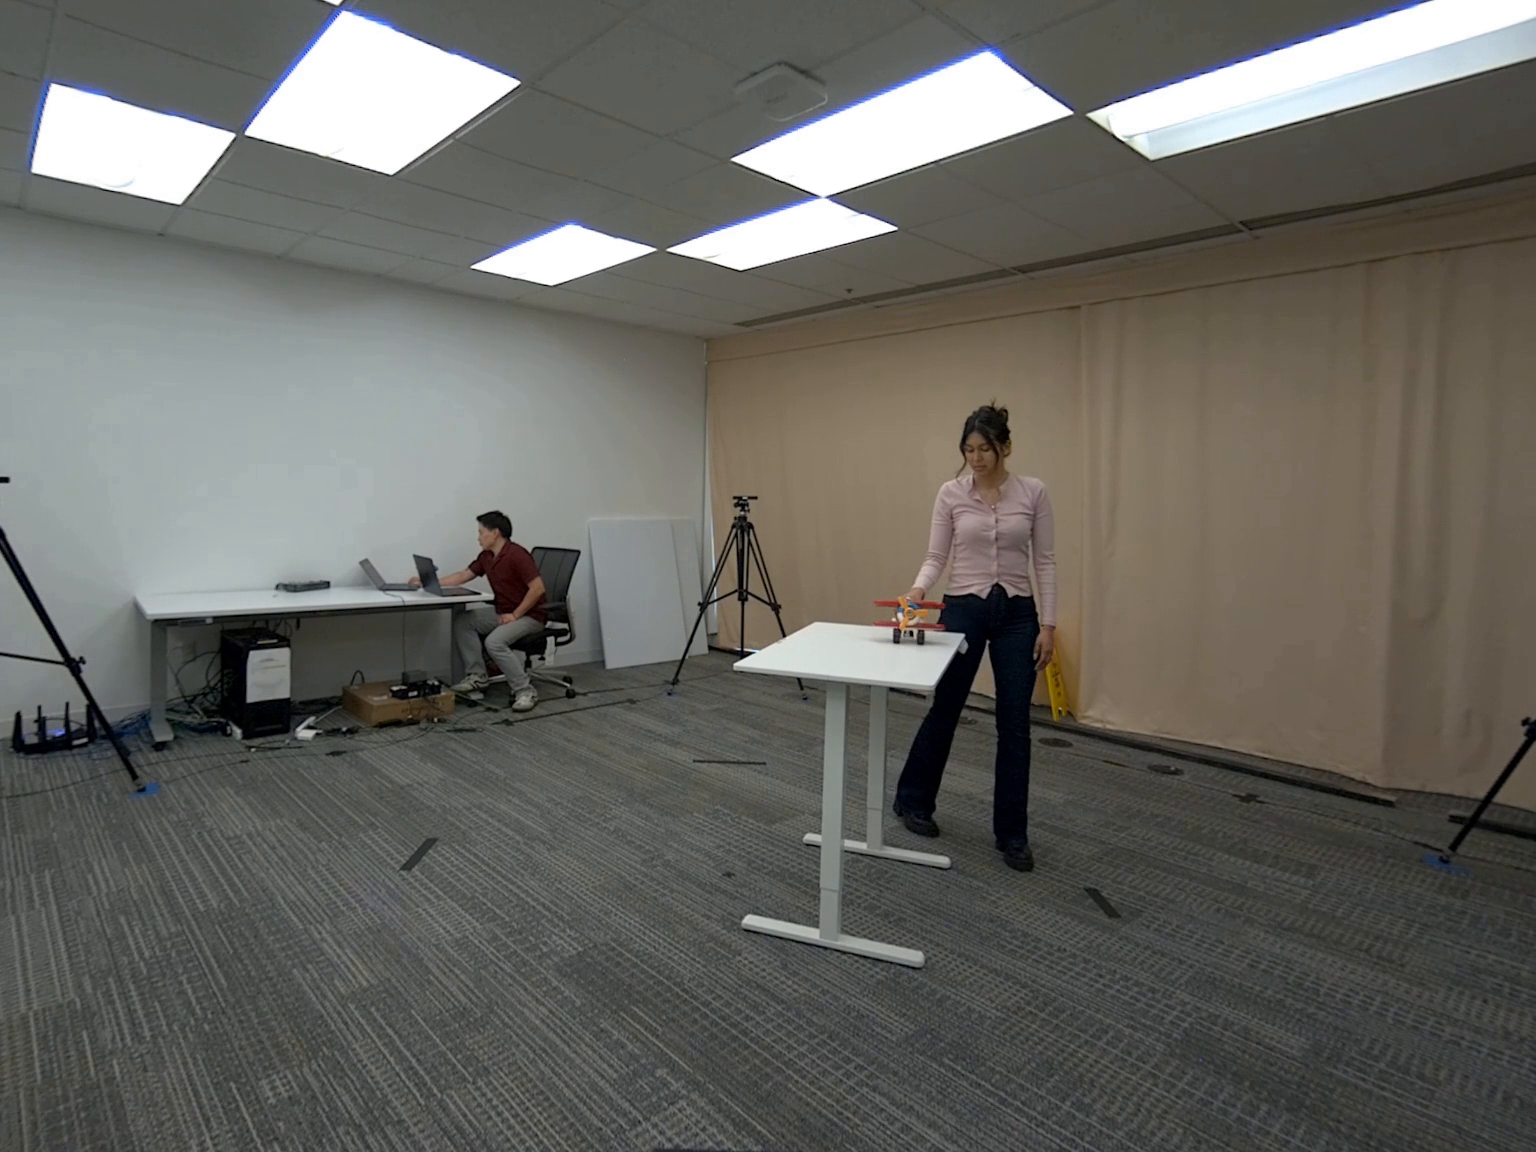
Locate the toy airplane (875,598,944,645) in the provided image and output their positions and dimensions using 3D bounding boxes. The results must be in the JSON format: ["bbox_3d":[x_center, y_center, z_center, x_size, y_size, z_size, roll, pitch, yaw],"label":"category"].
[{"bbox_3d":[0.492,0.162,3.104,0.247,0.156,0.264,1,5,-20],"label":"toy airplane"}]
